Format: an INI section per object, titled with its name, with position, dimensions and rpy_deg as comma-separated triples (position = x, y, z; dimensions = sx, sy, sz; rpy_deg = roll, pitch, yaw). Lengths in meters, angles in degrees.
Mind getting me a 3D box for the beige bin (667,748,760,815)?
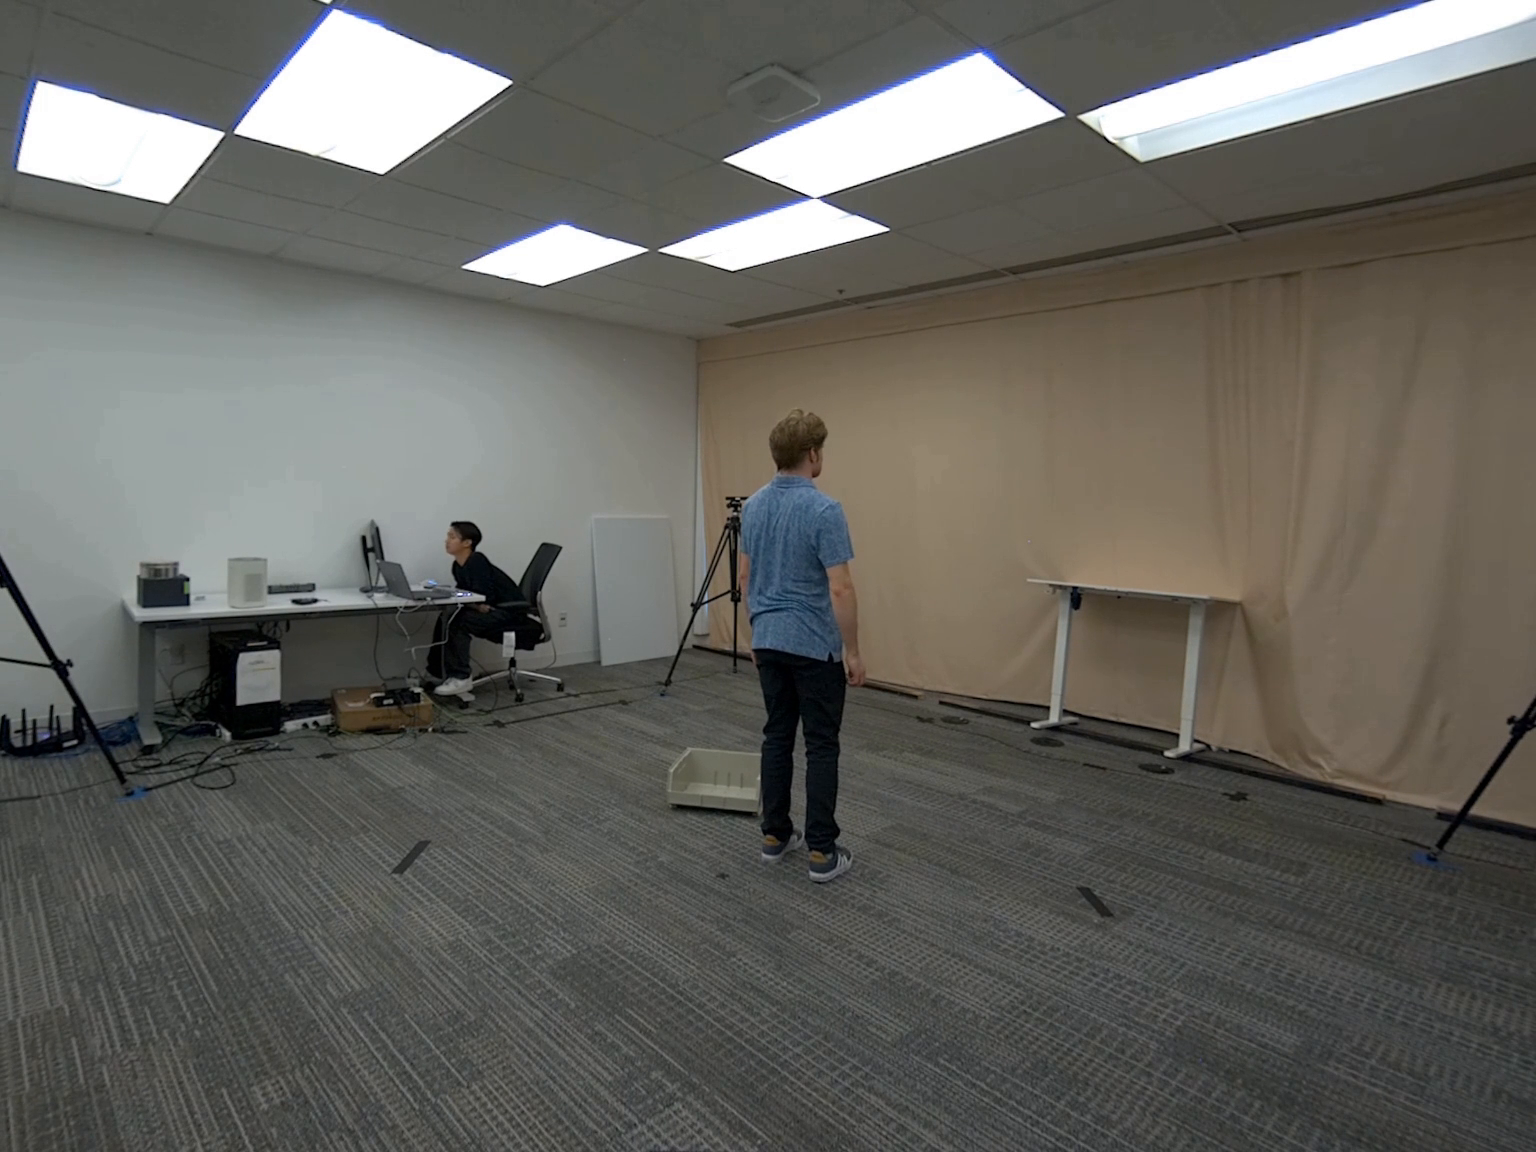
[beige bin]
position = -0.224, 0.950, 3.880
dimensions = 0.426, 0.188, 0.375
rpy_deg = 1, 4, 10
